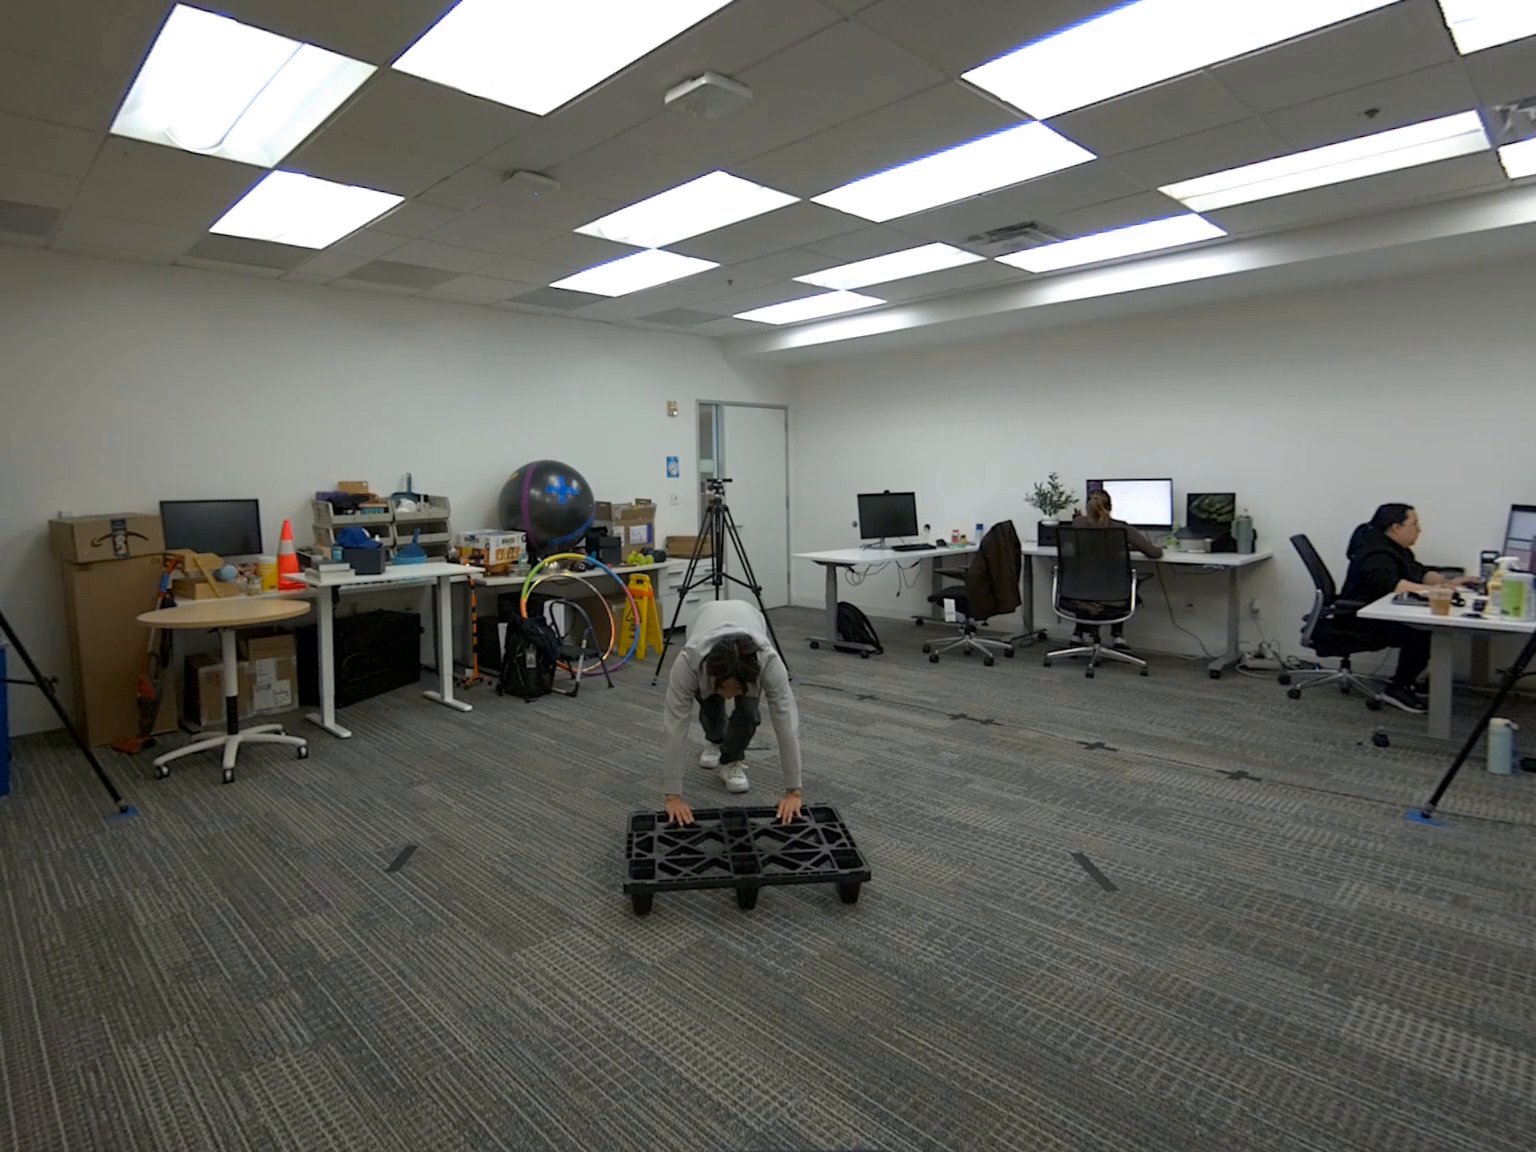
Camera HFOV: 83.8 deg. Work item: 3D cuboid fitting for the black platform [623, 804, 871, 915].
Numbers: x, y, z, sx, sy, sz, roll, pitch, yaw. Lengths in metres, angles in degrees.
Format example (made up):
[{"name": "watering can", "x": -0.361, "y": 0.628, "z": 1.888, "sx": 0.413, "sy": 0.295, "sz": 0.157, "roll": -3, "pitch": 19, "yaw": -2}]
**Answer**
[{"name": "black platform", "x": -0.094, "y": 0.989, "z": 3.006, "sx": 0.802, "sy": 0.142, "sz": 0.611, "roll": -2, "pitch": 7, "yaw": -5}]
